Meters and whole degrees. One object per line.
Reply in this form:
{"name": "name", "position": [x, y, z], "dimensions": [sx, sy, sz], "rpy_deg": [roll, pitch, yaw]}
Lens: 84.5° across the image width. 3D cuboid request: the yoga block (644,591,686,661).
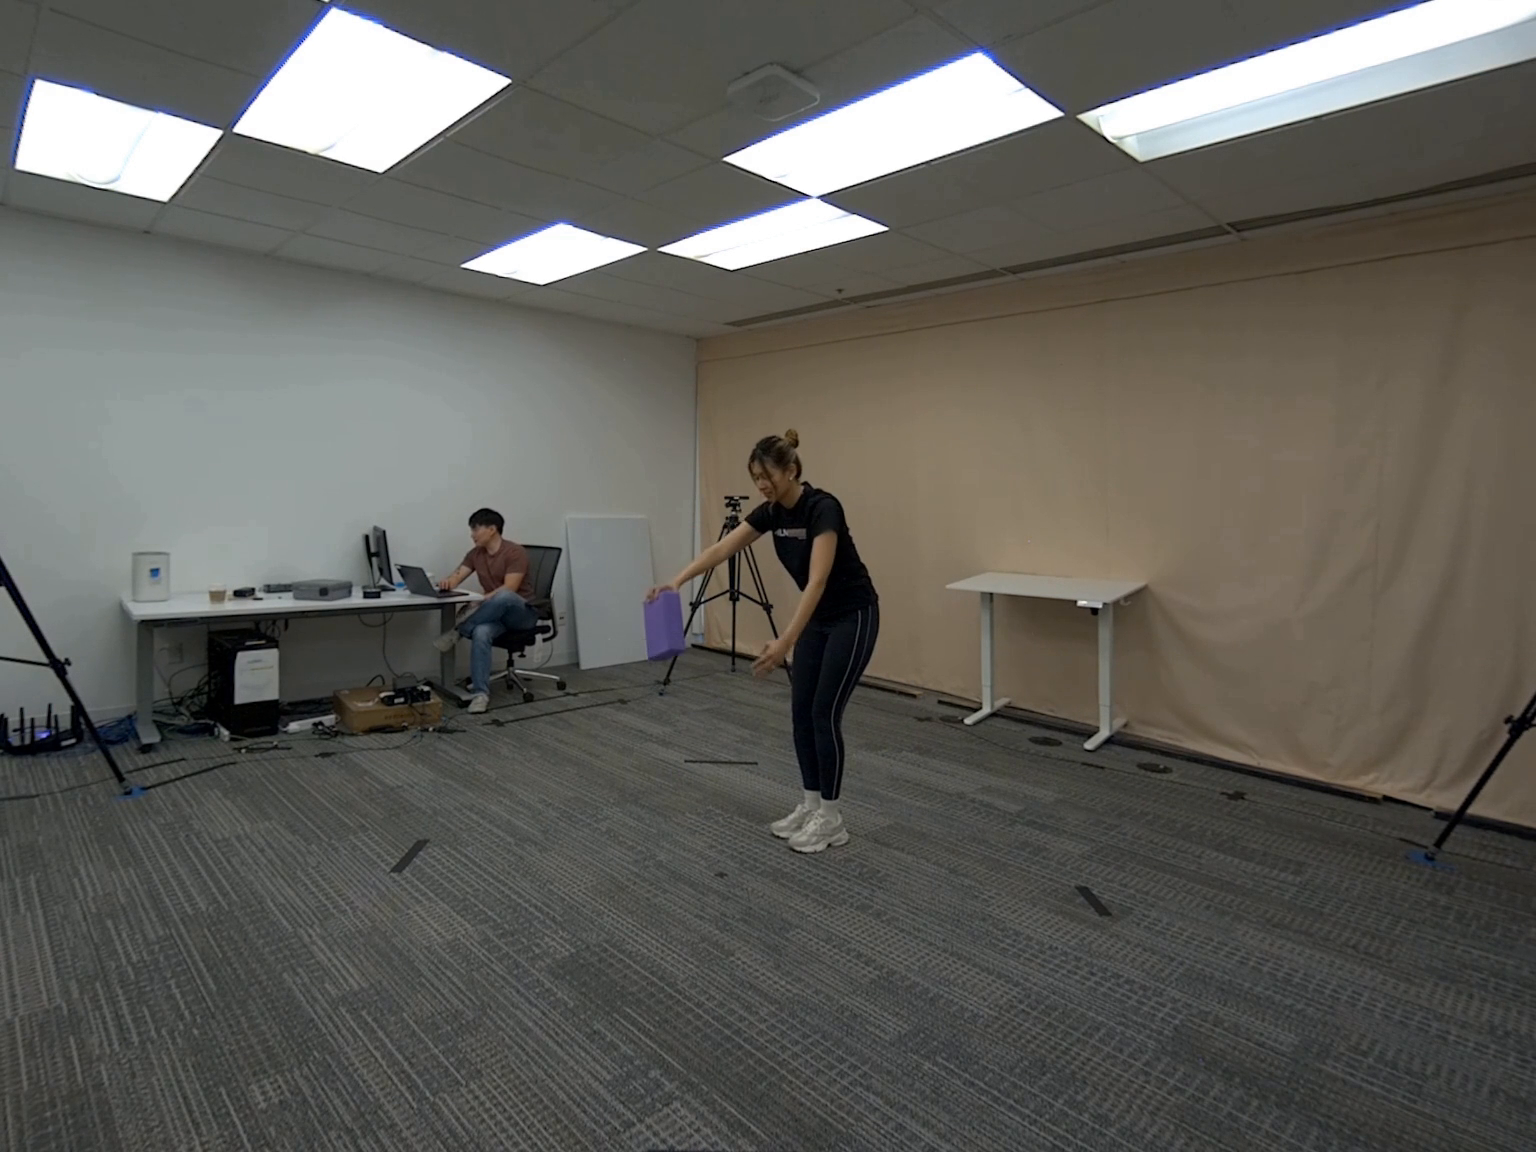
{"name": "yoga block", "position": [-0.383, 0.175, 3.091], "dimensions": [0.074, 0.232, 0.151], "rpy_deg": [12, -22, -39]}
